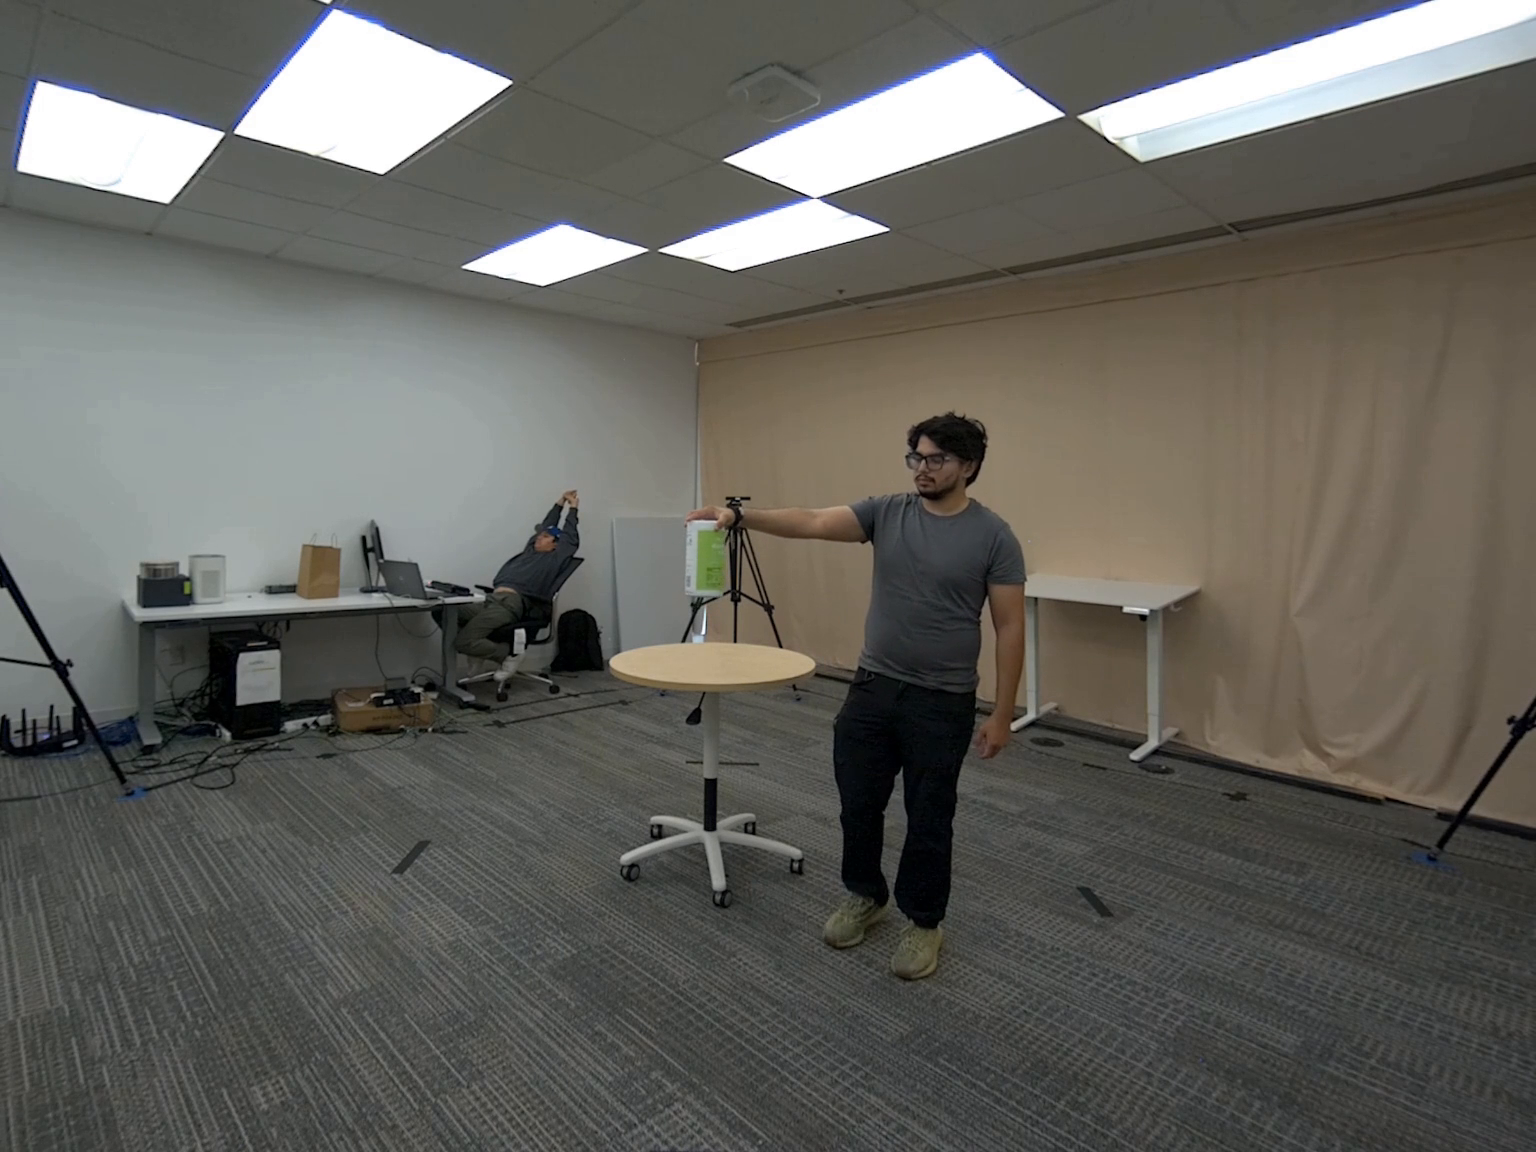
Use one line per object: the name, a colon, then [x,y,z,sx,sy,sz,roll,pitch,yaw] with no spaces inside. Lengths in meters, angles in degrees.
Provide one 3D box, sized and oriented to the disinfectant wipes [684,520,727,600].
disinfectant wipes: [-0.183,-0.045,2.387,0.118,0.217,0.118,0,0,-1]
